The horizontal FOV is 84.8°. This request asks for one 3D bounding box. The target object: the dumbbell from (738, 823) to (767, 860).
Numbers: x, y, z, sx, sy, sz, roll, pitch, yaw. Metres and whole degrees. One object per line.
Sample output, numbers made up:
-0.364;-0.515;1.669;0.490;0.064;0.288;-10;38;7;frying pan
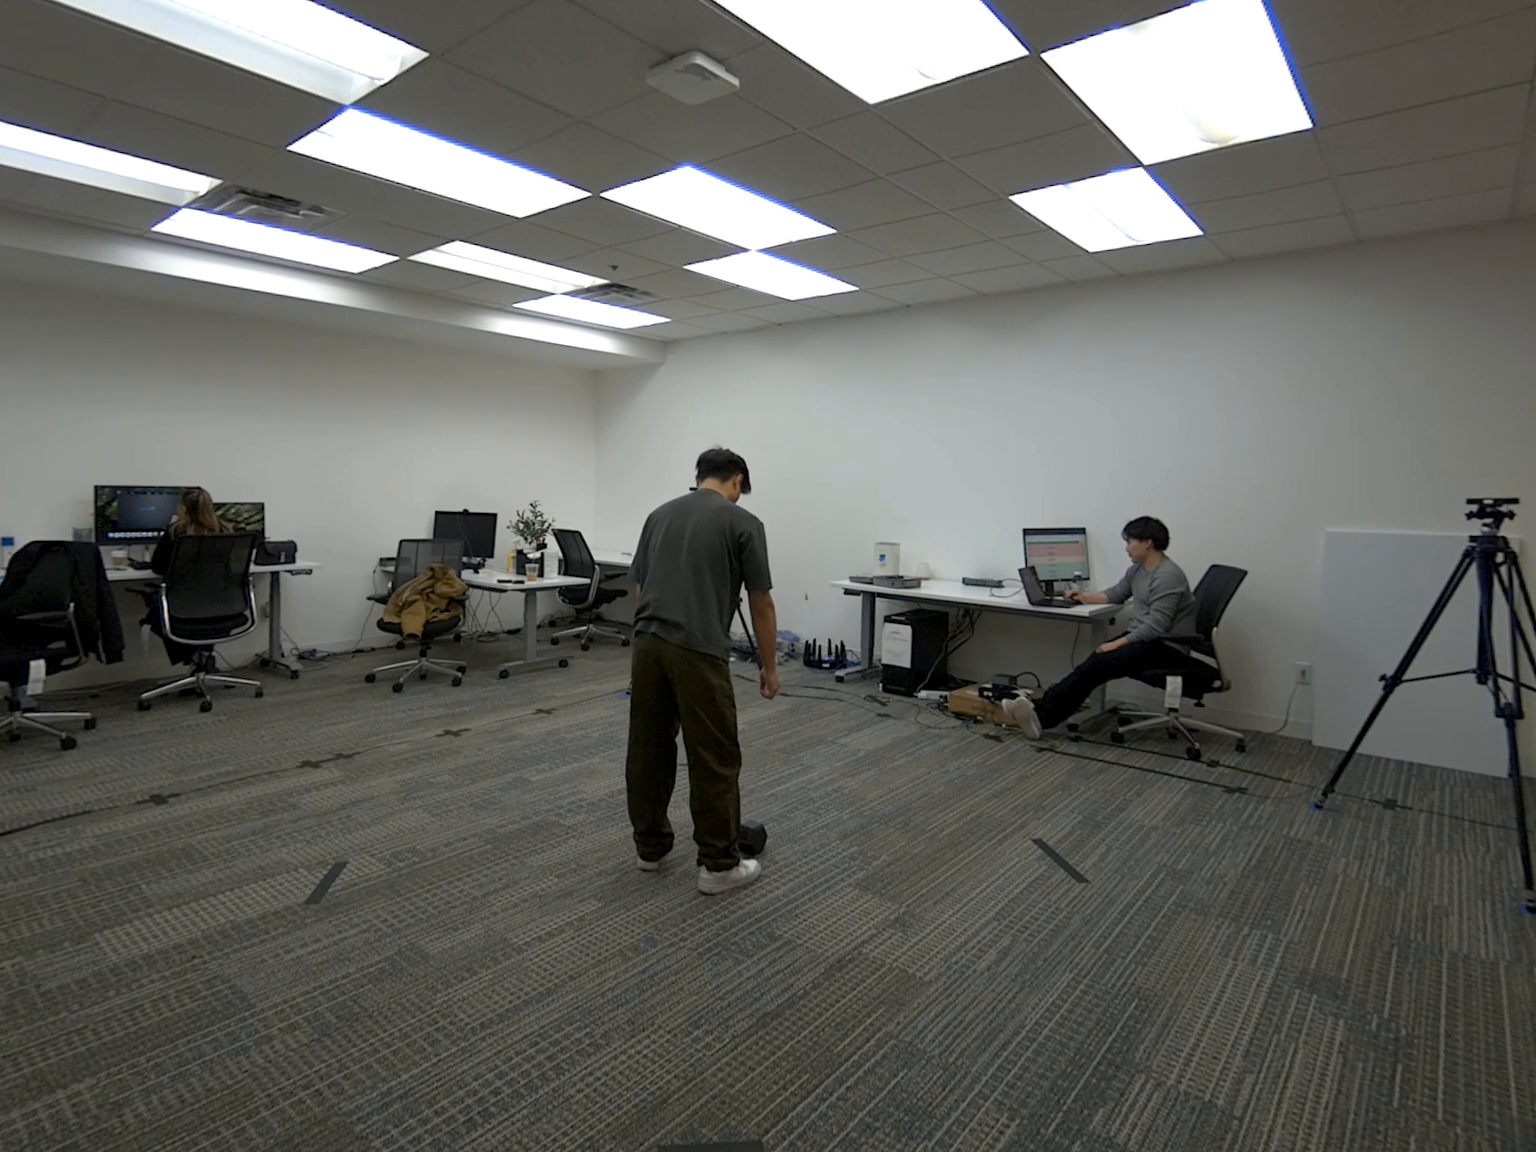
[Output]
-0.157;0.990;3.326;0.303;0.124;0.104;4;-26;40;dumbbell
